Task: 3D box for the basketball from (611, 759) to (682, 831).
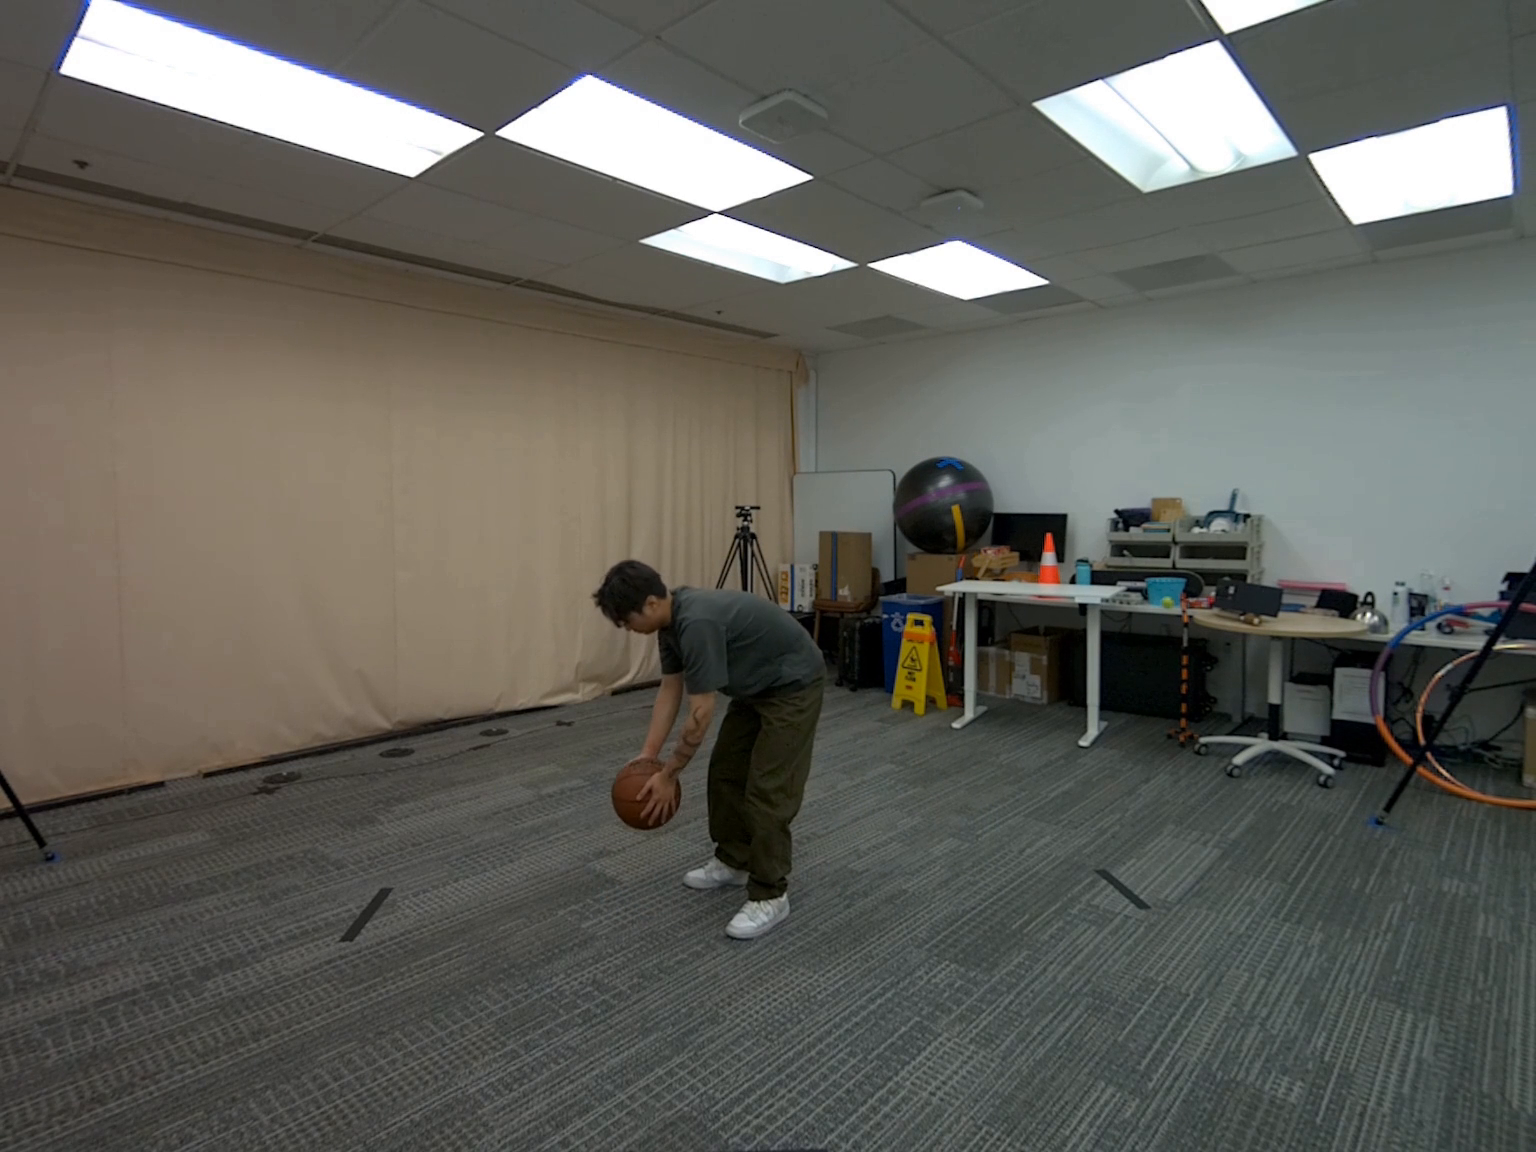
[{"bbox_3d":[-0.413,0.743,2.879,0.236,0.235,0.237,0,4,-2],"label":"basketball"}]
